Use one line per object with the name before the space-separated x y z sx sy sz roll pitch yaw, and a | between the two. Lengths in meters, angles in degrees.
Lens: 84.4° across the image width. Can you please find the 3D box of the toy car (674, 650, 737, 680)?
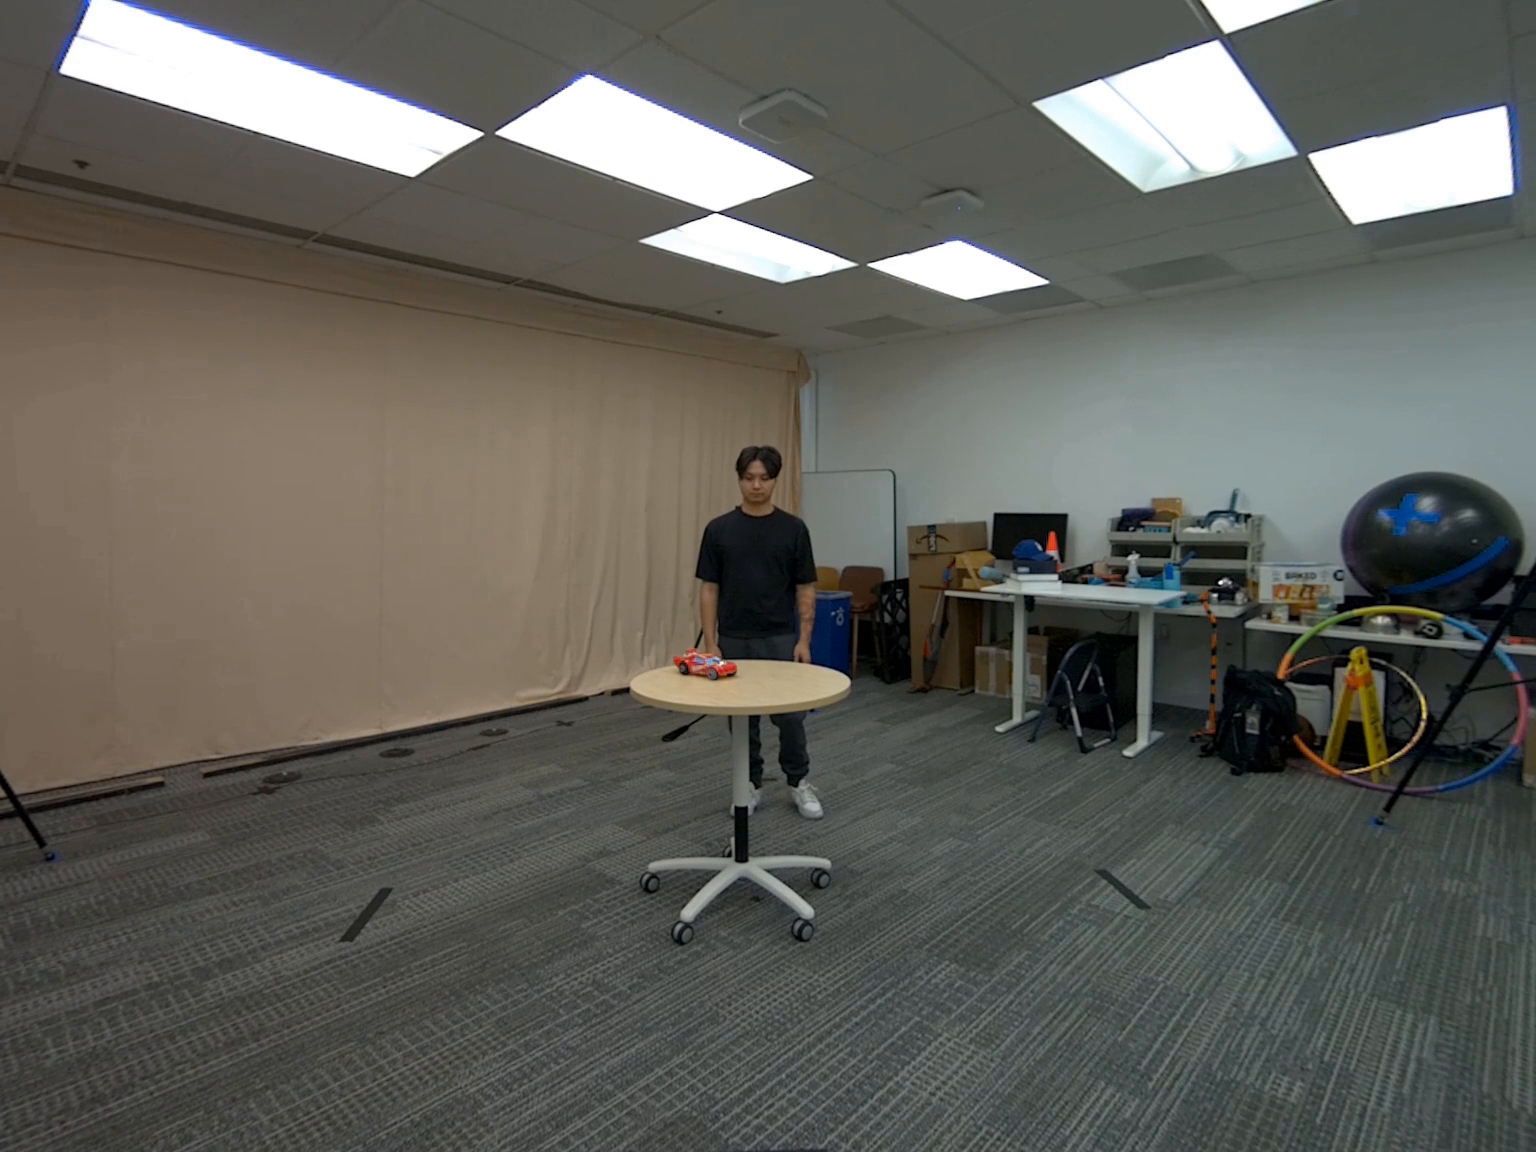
toy car | -0.236 0.324 3.055 0.264 0.083 0.126 17 16 40
